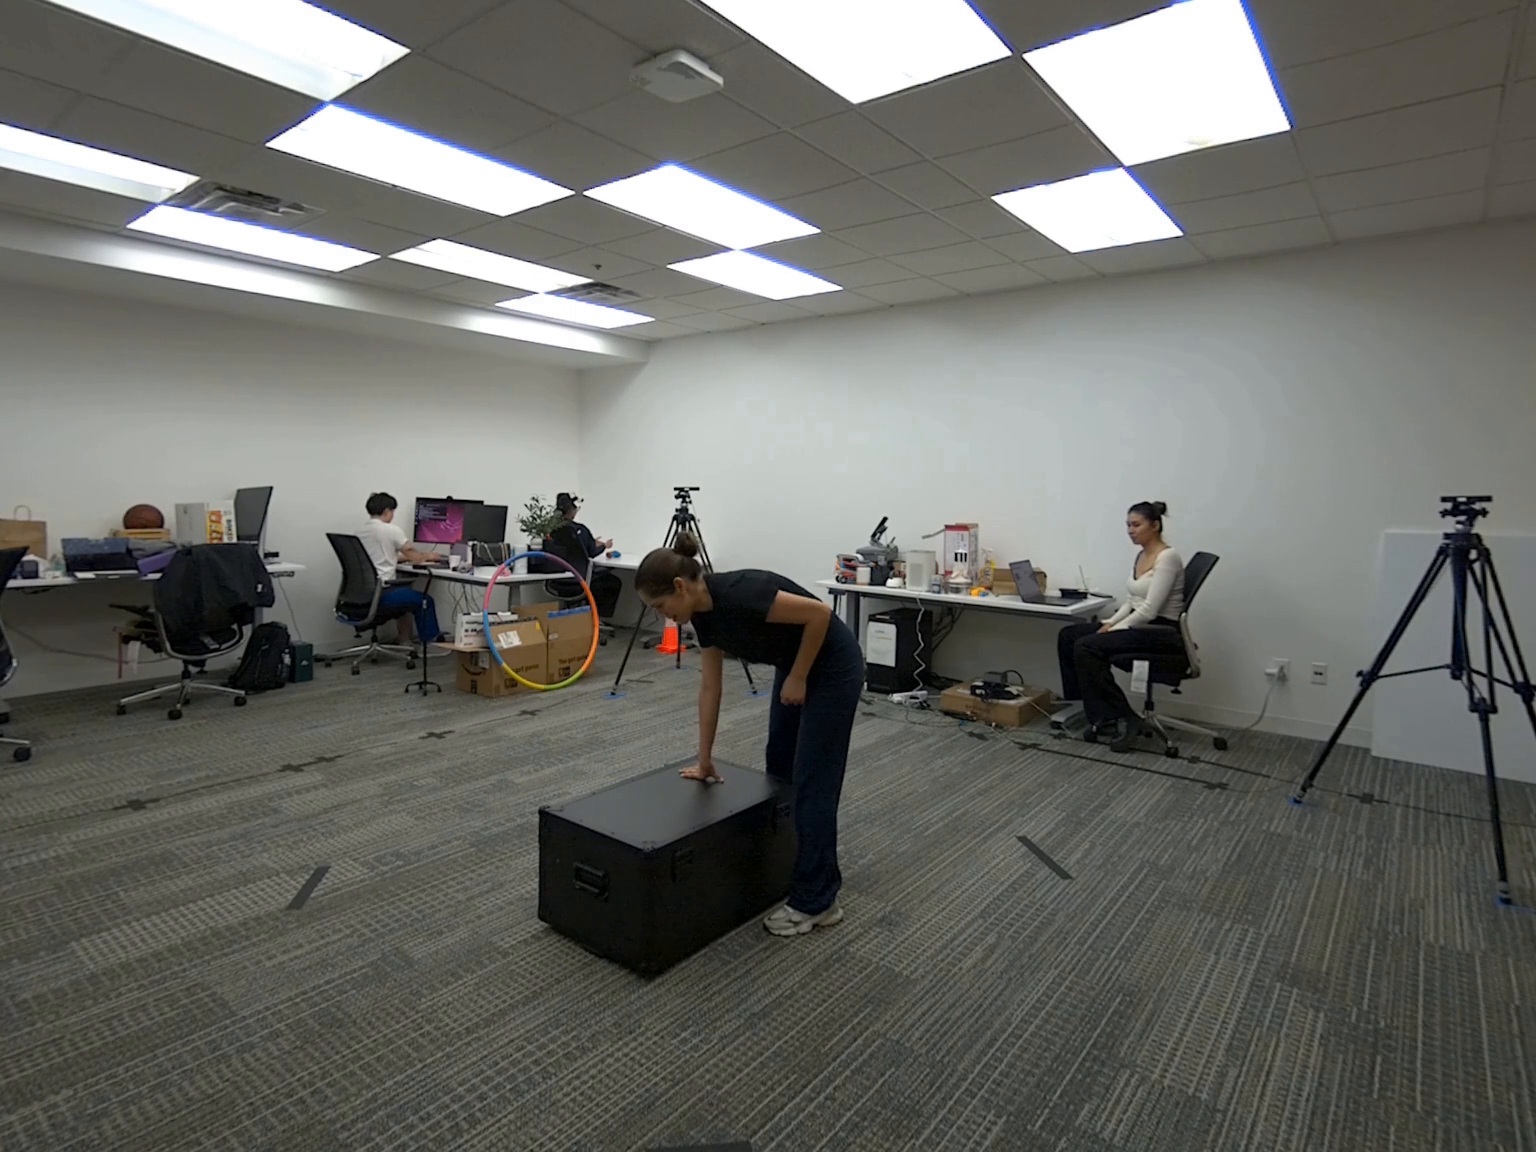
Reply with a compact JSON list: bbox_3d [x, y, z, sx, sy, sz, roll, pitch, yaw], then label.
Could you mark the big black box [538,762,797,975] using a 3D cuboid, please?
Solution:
[{"bbox_3d":[-0.270,0.885,2.852,0.539,0.395,0.836,5,5,38],"label":"big black box"}]
